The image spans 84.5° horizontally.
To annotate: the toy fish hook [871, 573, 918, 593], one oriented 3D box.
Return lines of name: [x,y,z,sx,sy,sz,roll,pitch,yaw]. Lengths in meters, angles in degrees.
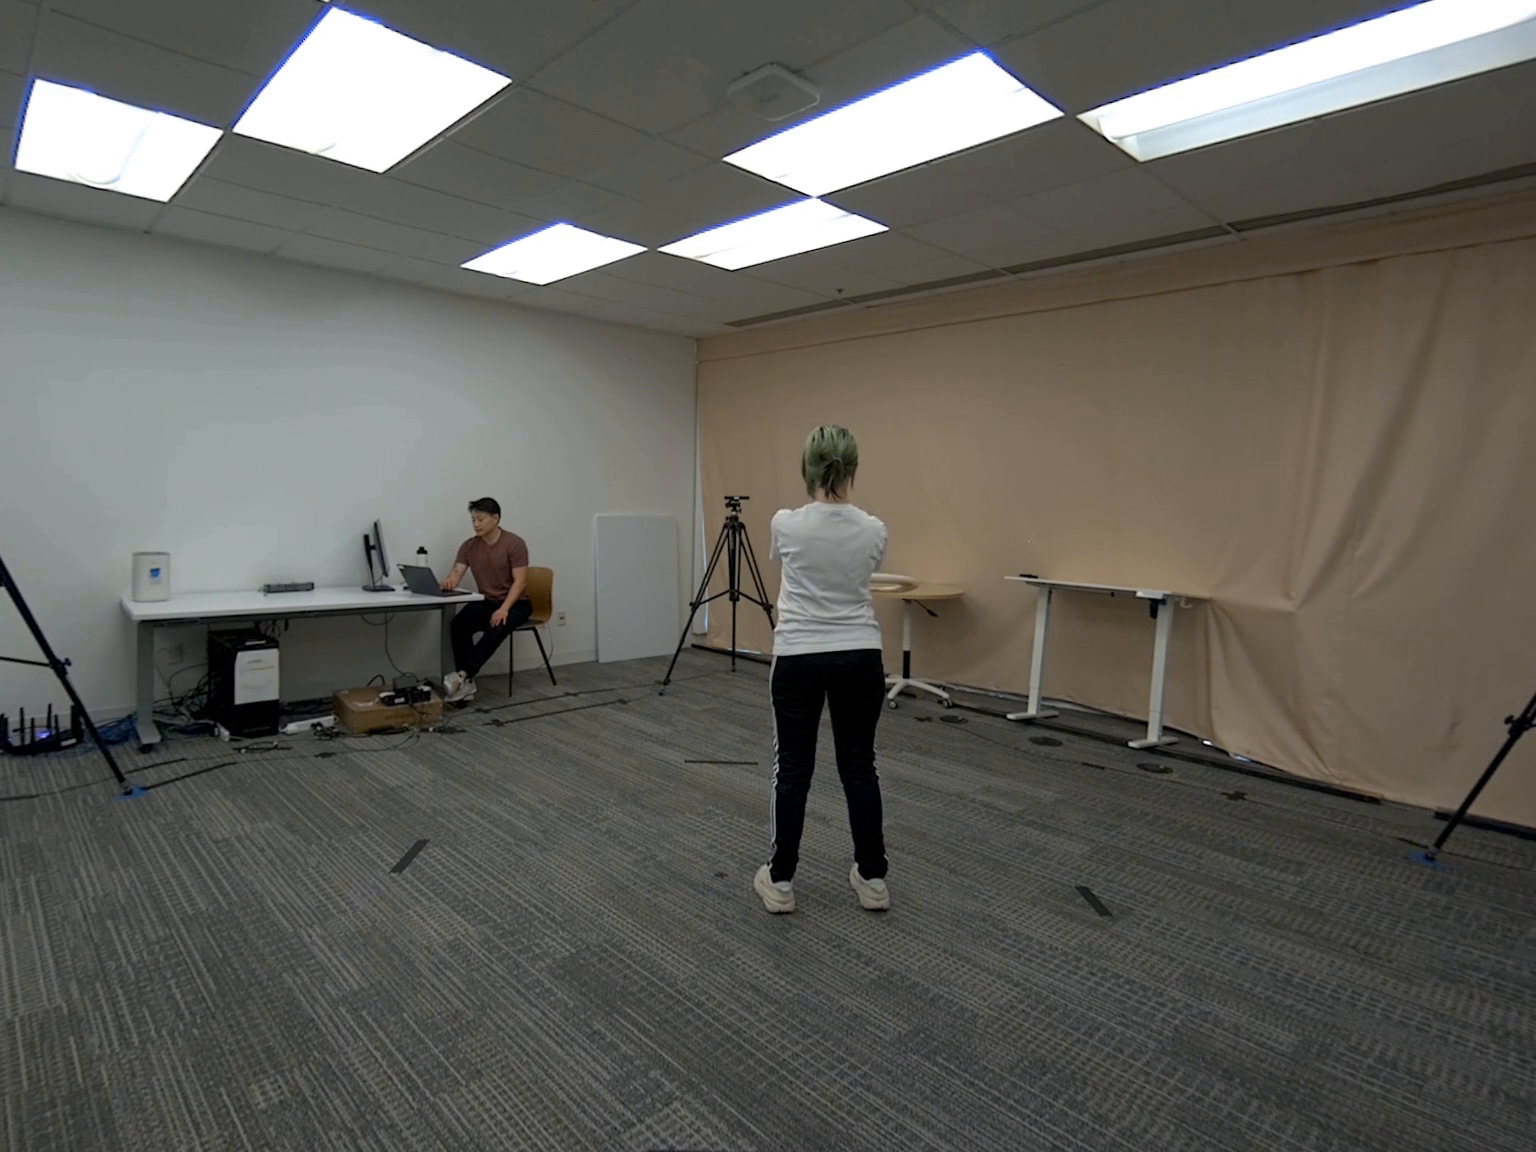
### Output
toy fish hook: [0.351,0.022,3.472,0.498,0.049,0.225,10,-23,-20]
